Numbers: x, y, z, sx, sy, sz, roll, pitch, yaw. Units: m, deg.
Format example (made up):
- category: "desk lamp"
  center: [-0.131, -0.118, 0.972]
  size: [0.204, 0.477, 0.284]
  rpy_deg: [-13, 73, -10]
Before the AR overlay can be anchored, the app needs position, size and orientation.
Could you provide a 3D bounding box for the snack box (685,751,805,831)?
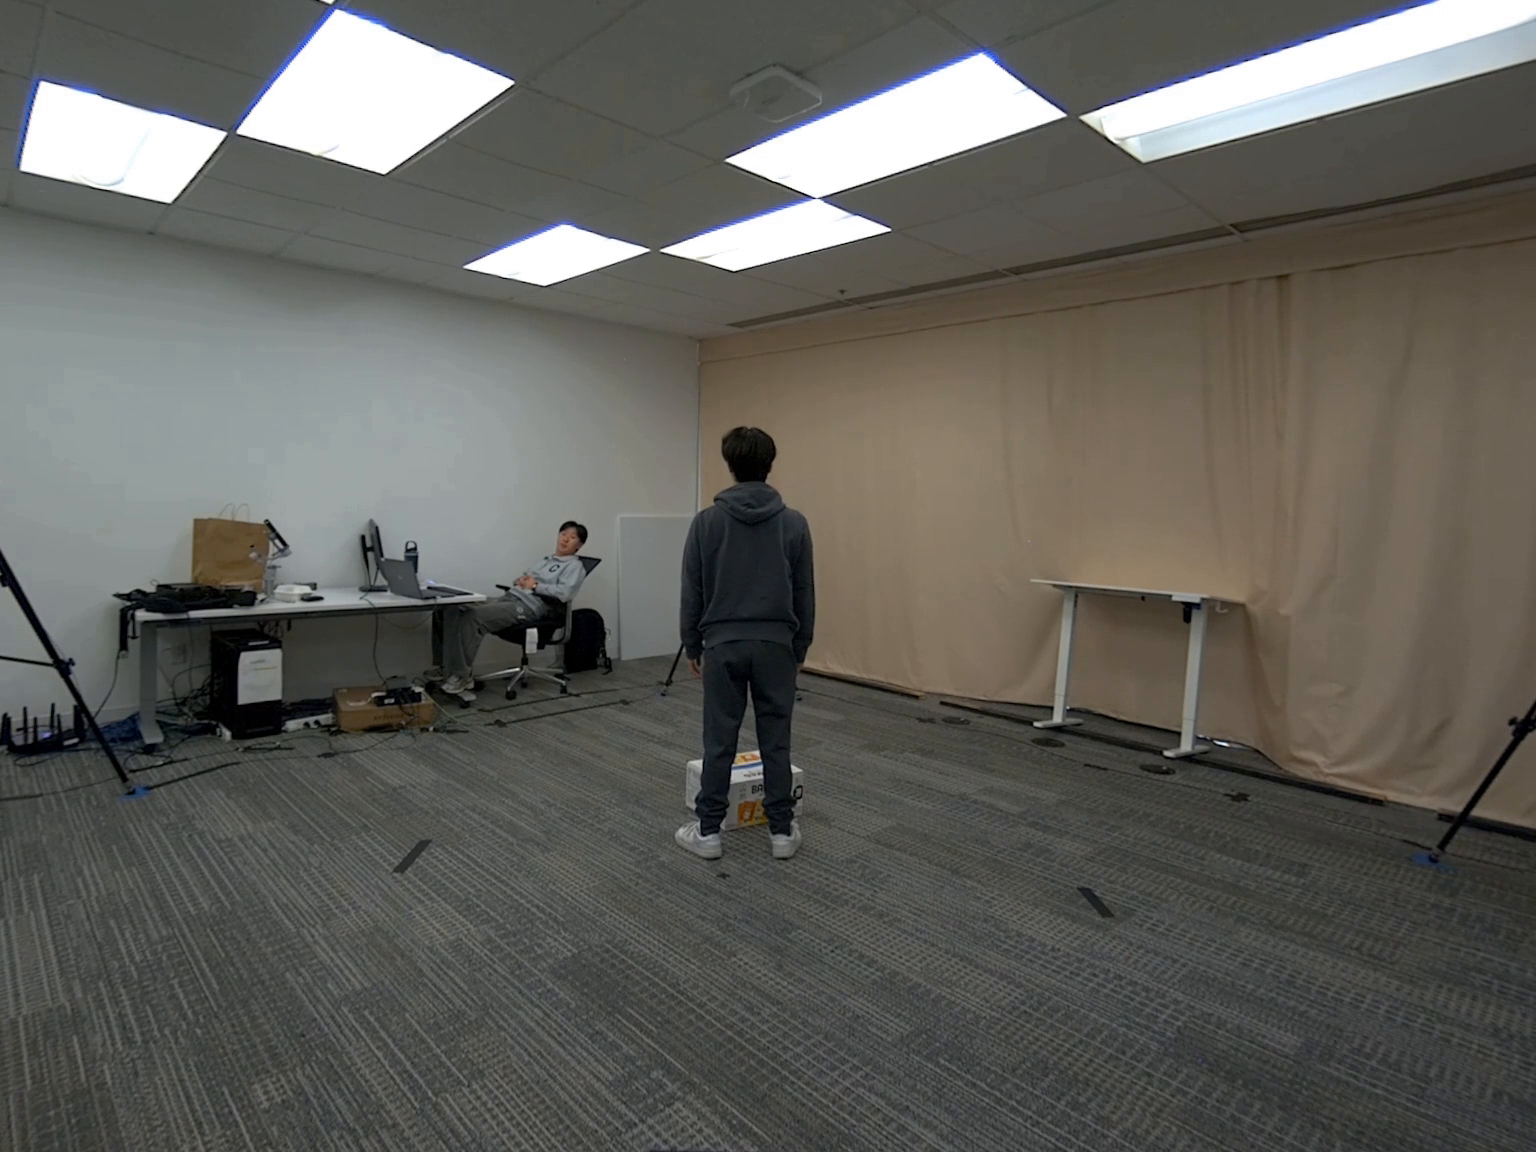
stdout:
- category: "snack box"
  center: [-0.112, 0.945, 3.757]
  size: [0.396, 0.205, 0.349]
  rpy_deg: [-2, 6, -34]
